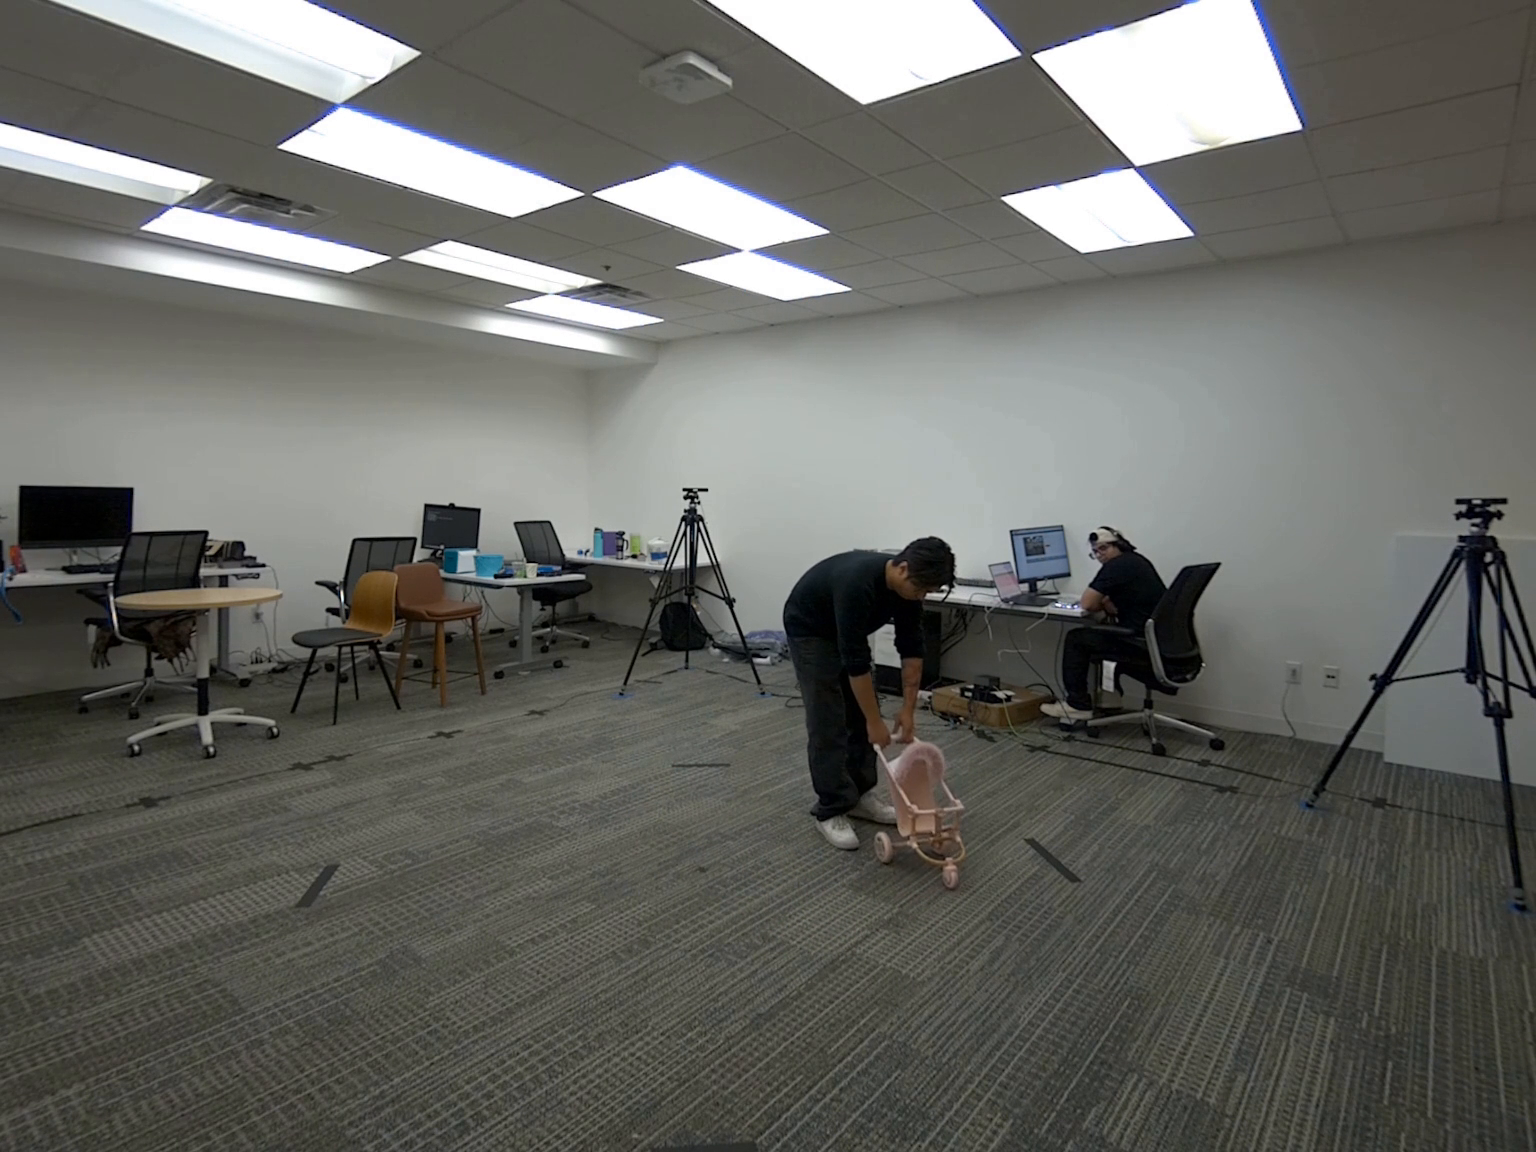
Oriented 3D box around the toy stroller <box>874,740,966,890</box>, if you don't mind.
[{"bbox_3d":[0.568,0.858,3.183,0.277,0.542,0.343,0,-13,-17],"label":"toy stroller"}]
